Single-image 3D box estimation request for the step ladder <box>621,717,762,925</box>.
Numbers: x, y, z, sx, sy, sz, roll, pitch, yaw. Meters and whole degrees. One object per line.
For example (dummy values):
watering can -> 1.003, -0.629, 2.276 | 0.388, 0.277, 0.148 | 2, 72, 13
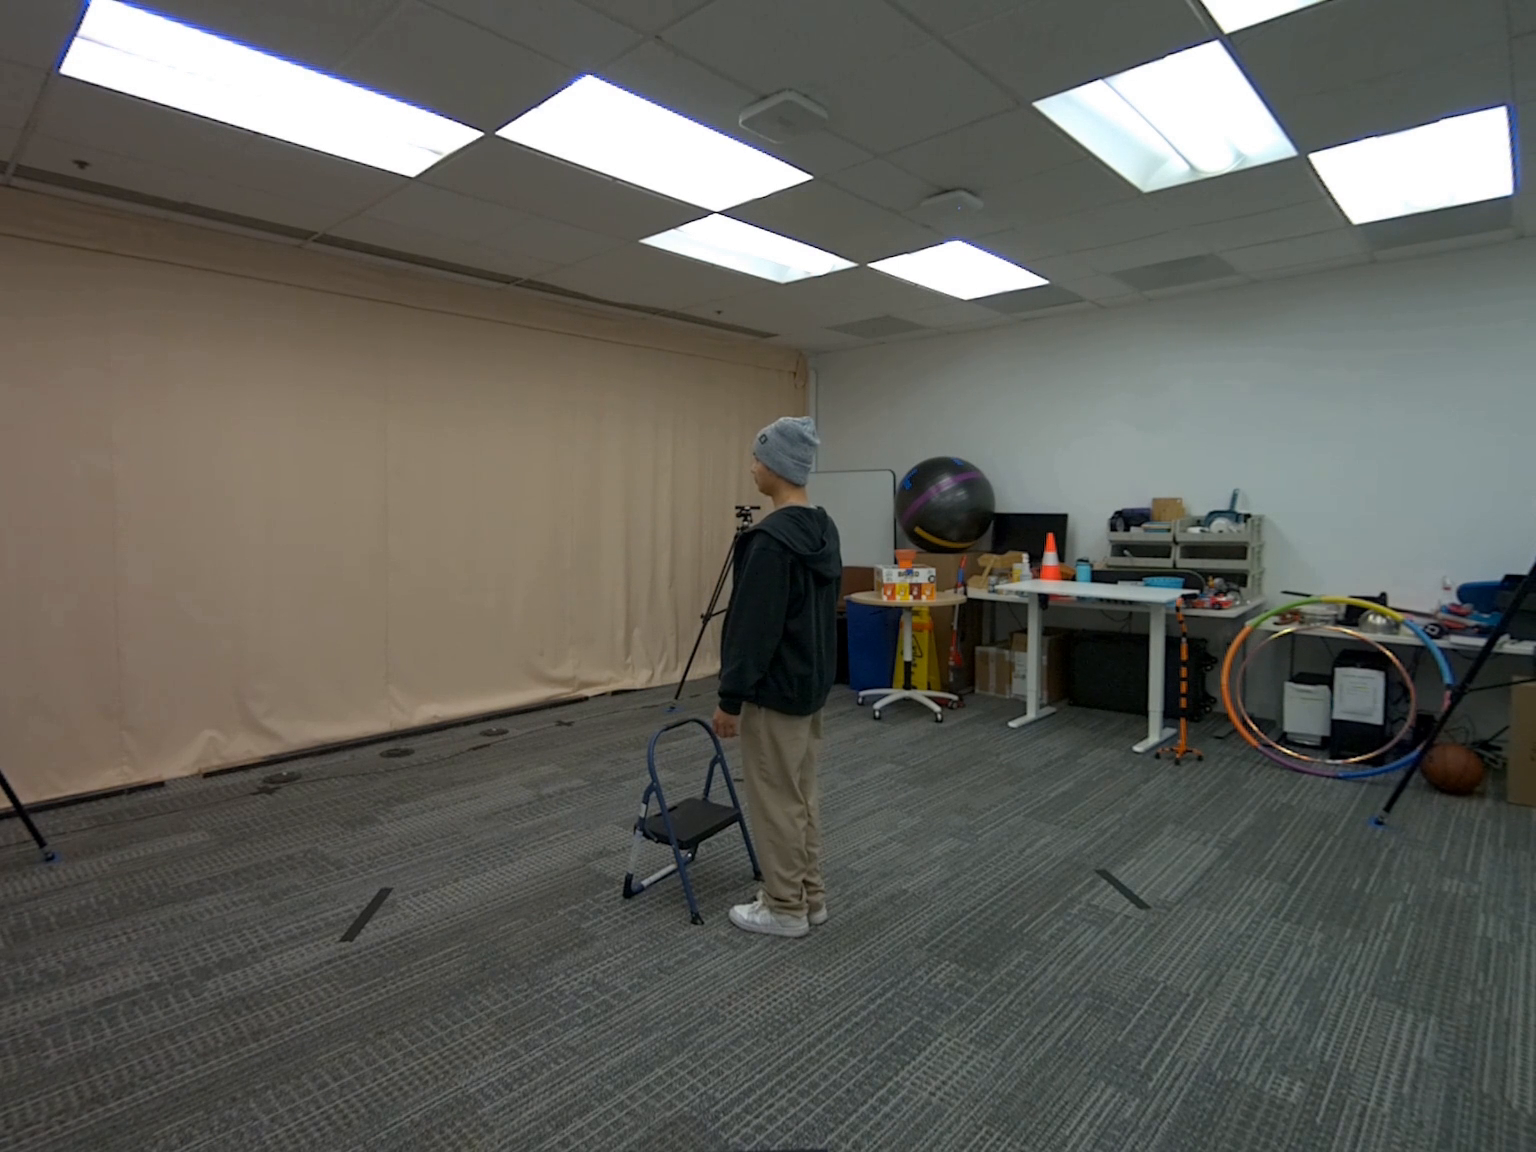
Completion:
step ladder -> -0.268, 0.837, 3.053 | 0.360, 0.605, 0.418 | 2, 4, 33
